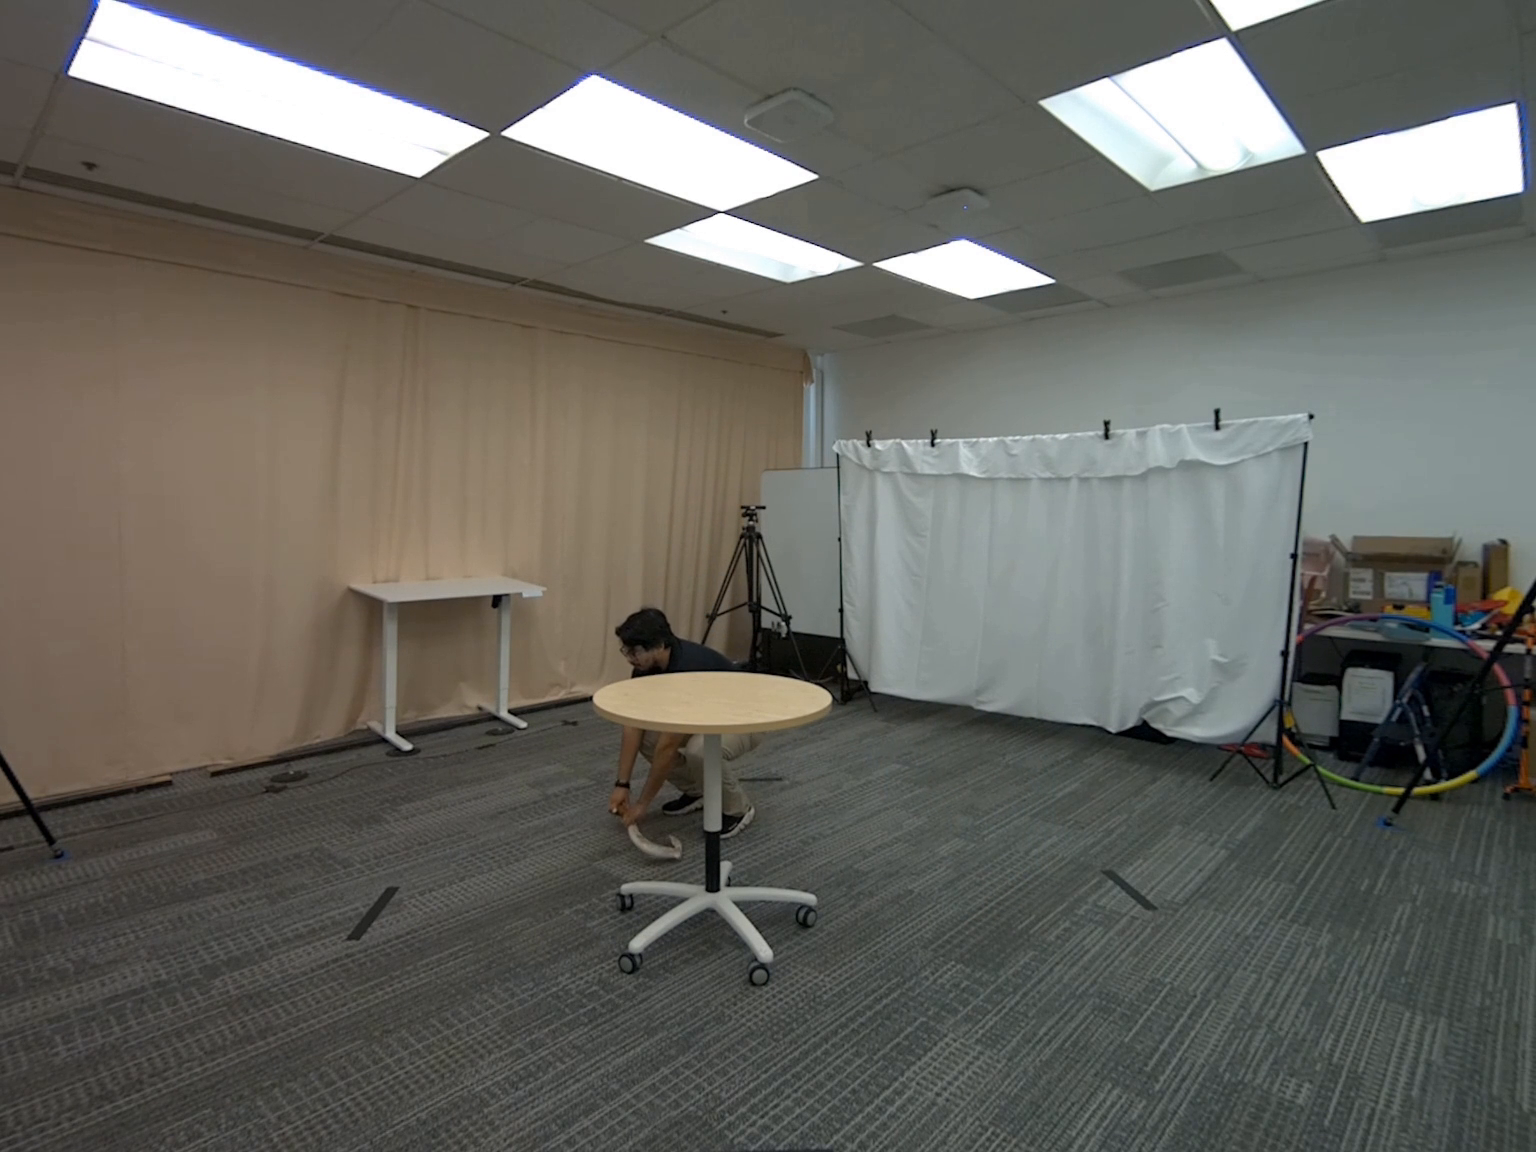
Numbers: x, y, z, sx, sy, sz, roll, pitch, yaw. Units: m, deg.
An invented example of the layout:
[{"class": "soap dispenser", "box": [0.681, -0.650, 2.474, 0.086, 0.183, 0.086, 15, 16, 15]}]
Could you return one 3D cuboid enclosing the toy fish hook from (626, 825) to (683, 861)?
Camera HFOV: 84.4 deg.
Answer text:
[{"class": "toy fish hook", "box": [-0.498, 1.042, 3.499, 0.218, 0.048, 0.522, 21, 0, -29]}]
